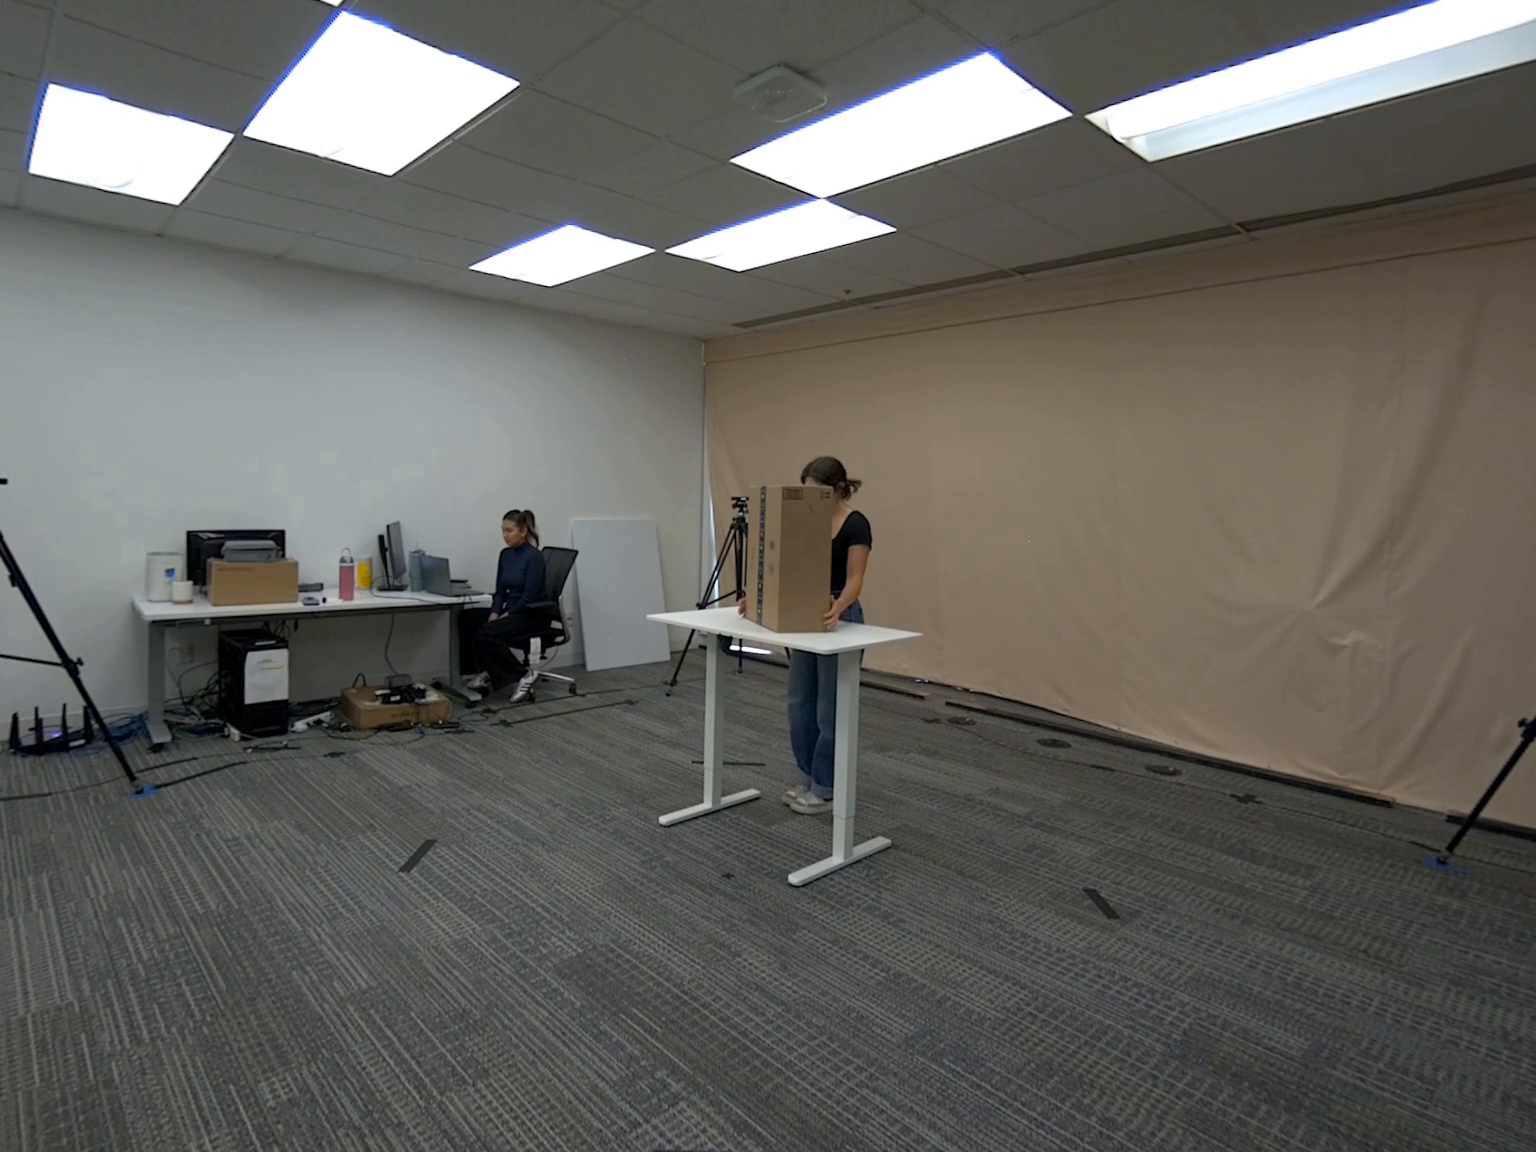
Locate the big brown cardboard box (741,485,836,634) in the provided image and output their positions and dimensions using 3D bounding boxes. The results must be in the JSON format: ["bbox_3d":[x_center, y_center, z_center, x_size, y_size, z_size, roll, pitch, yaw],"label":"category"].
[{"bbox_3d":[0.067,-0.078,3.422,0.230,0.587,0.424,0,5,-17],"label":"big brown cardboard box"}]
